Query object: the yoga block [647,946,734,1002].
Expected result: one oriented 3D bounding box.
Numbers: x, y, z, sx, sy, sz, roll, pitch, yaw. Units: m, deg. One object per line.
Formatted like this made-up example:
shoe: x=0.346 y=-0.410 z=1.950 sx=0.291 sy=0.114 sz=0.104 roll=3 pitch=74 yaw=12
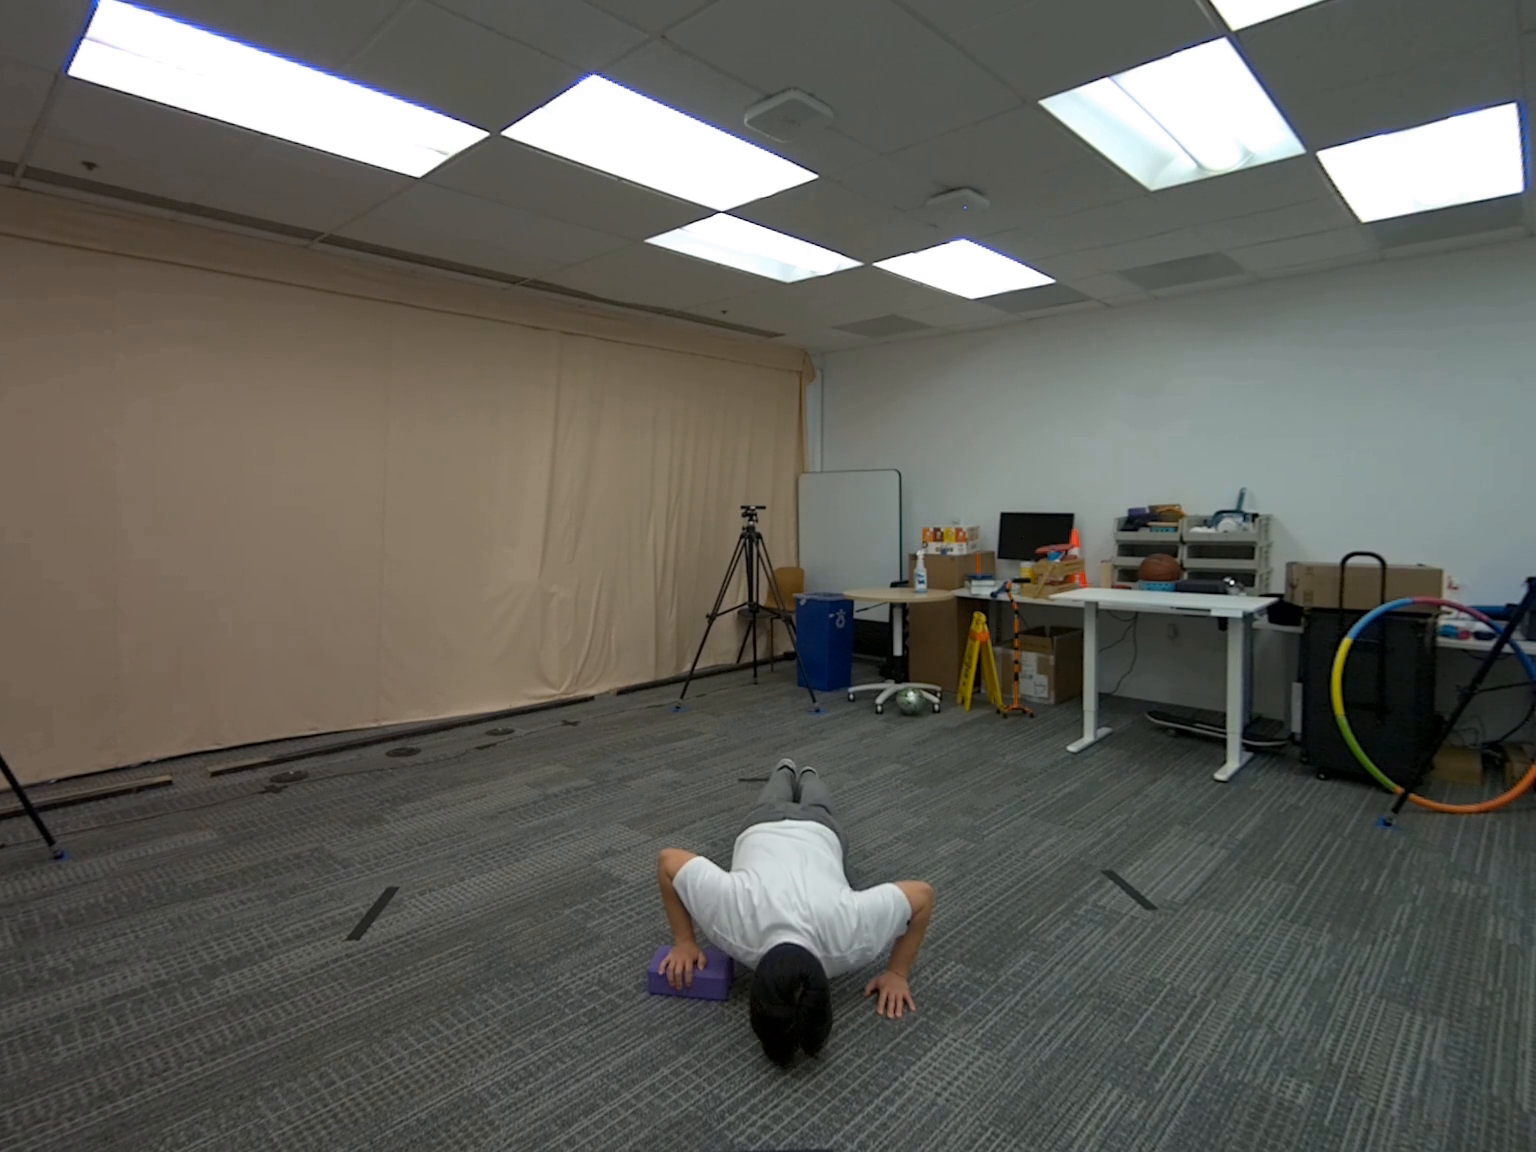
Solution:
yoga block: x=-0.218 y=1.159 z=2.445 sx=0.232 sy=0.076 sz=0.147 roll=1 pitch=4 yaw=12
